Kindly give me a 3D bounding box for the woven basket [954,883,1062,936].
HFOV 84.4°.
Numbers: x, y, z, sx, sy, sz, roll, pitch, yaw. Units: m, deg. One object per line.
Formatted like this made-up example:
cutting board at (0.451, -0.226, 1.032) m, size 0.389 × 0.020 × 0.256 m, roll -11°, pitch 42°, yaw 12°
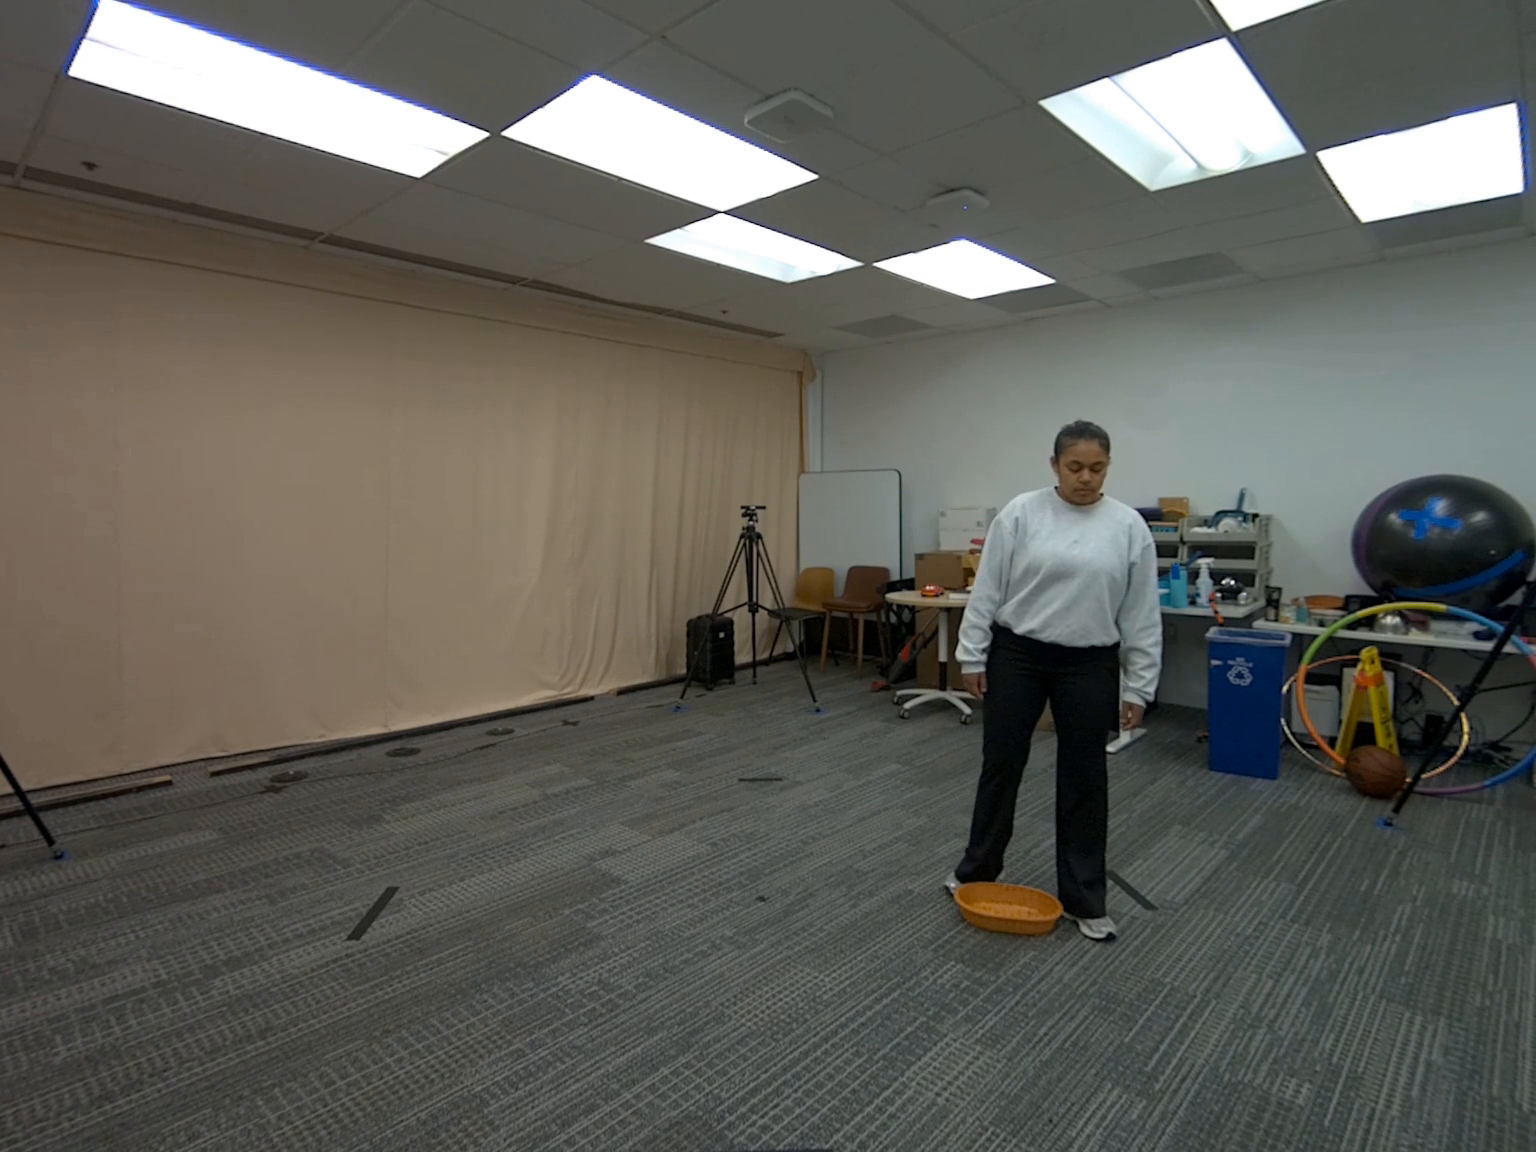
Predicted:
woven basket at (0.803, 1.117, 2.822) m, size 0.356 × 0.073 × 0.249 m, roll 1°, pitch 4°, yaw 14°
